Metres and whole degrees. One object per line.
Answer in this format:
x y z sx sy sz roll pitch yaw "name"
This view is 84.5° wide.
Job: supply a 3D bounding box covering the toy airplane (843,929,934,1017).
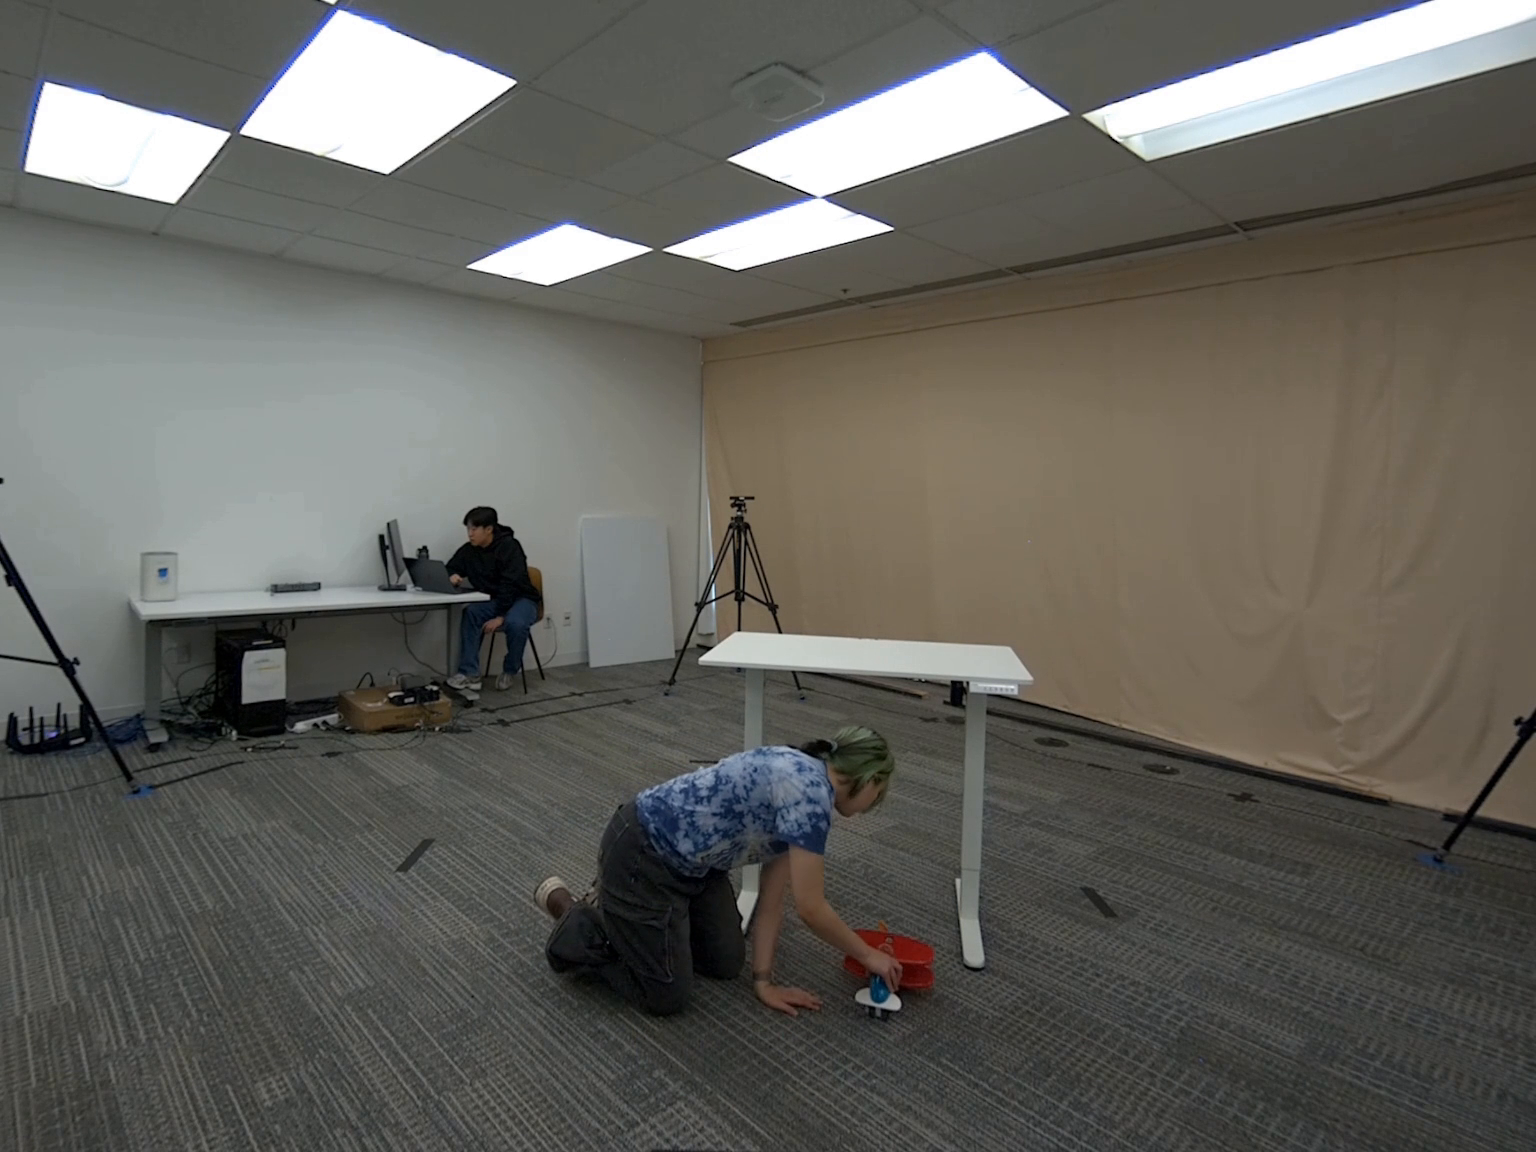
0.344 1.116 2.340 0.249 0.156 0.262 2 4 -9 "toy airplane"
